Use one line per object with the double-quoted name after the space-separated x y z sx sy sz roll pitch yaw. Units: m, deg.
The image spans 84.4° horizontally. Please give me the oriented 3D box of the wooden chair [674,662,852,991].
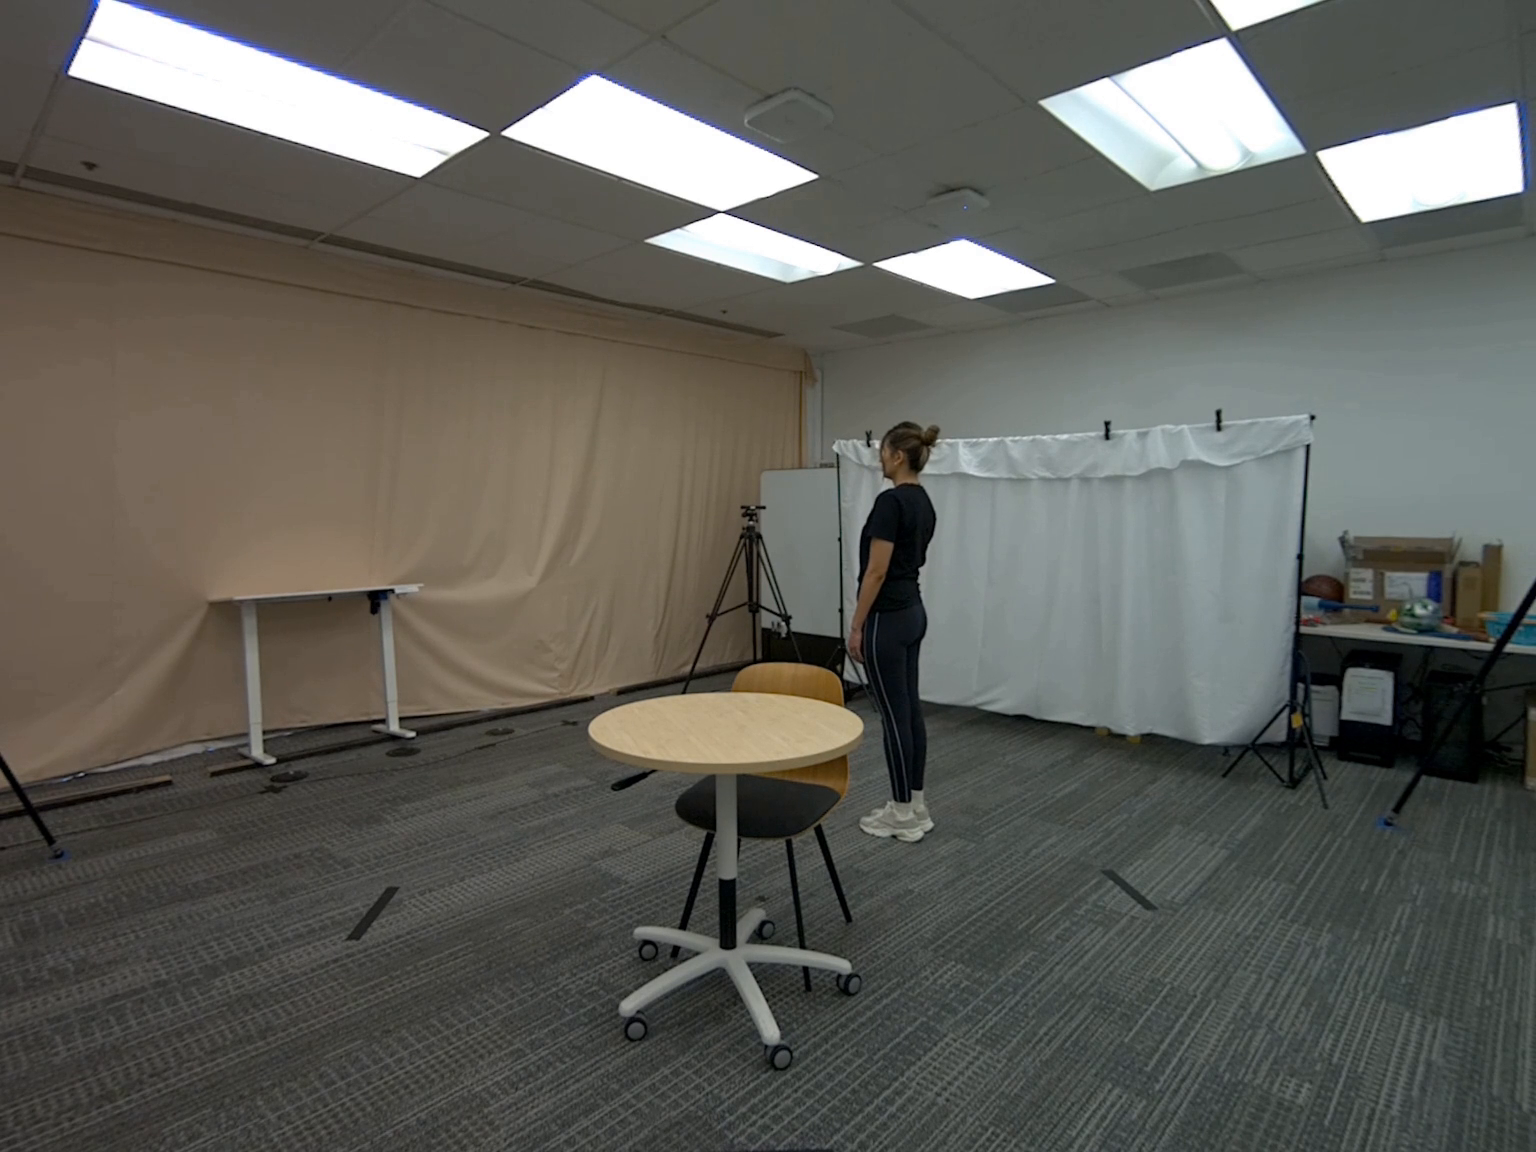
-0.006 0.742 2.674 0.490 0.877 0.510 2 0 24 "wooden chair"
